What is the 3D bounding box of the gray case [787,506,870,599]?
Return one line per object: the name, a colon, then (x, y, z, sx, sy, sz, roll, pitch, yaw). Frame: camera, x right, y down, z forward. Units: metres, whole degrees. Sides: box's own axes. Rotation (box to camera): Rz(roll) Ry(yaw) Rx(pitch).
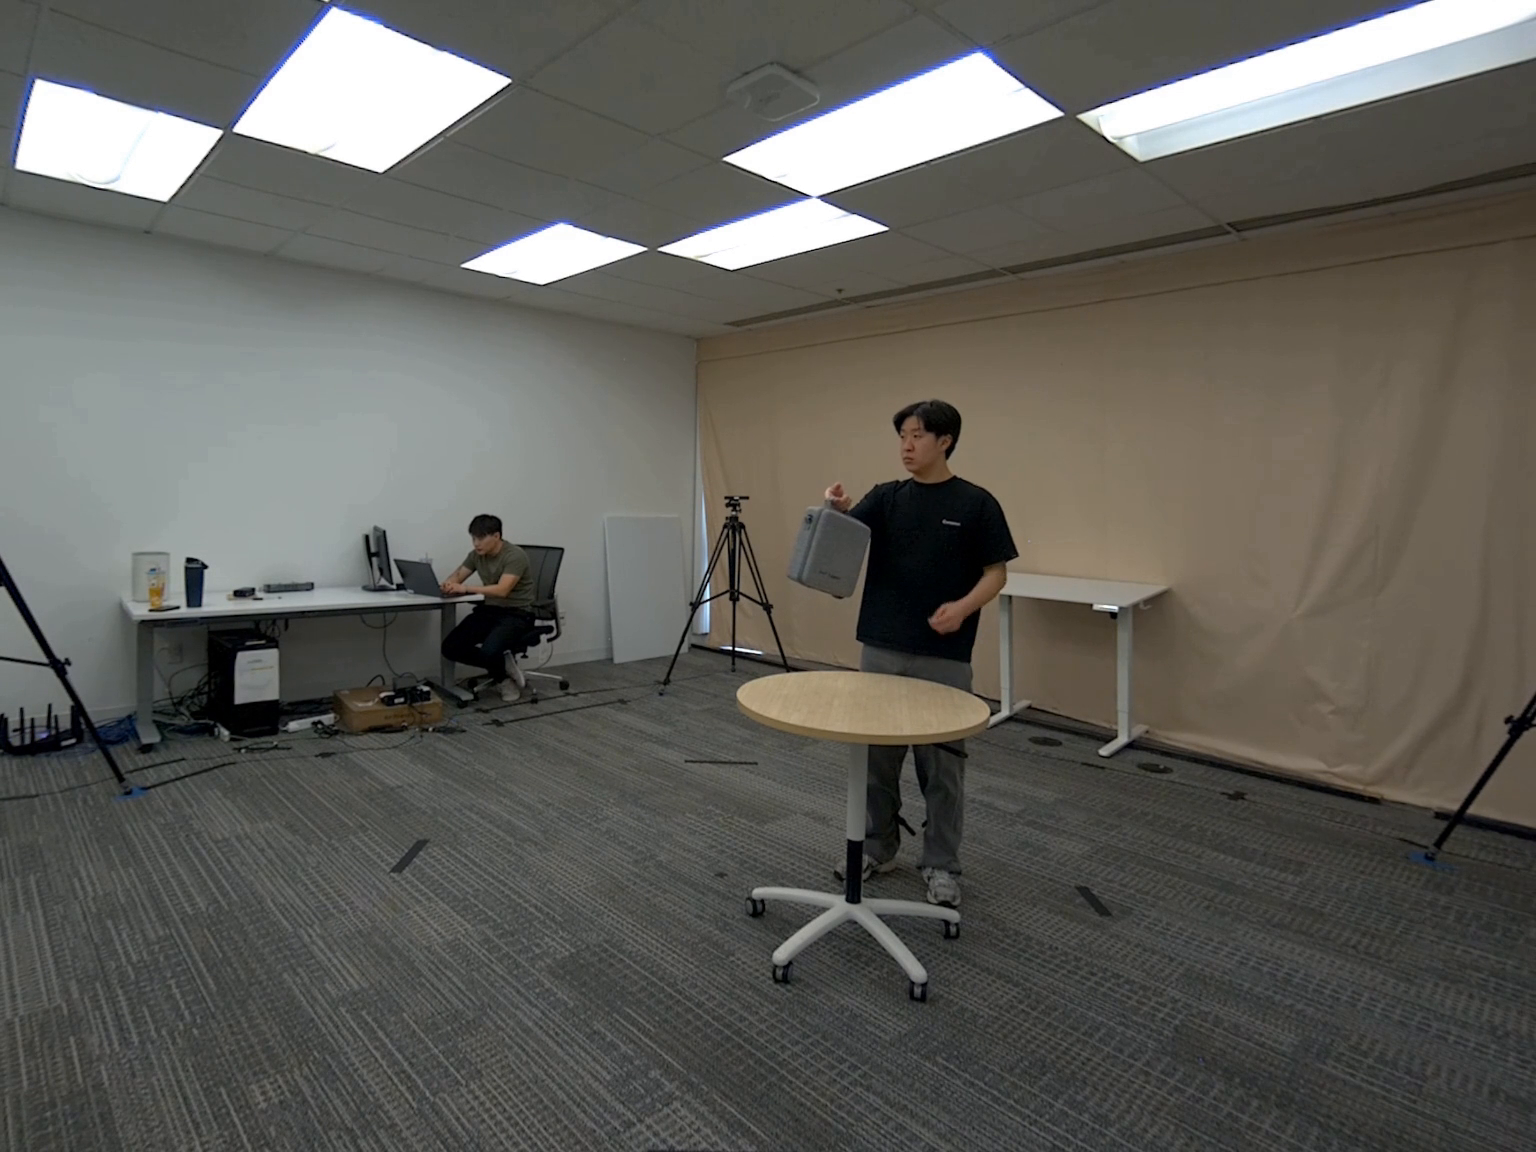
gray case: (0.195, -0.086, 2.710, 0.255, 0.287, 0.106, 18, -3, -44)
